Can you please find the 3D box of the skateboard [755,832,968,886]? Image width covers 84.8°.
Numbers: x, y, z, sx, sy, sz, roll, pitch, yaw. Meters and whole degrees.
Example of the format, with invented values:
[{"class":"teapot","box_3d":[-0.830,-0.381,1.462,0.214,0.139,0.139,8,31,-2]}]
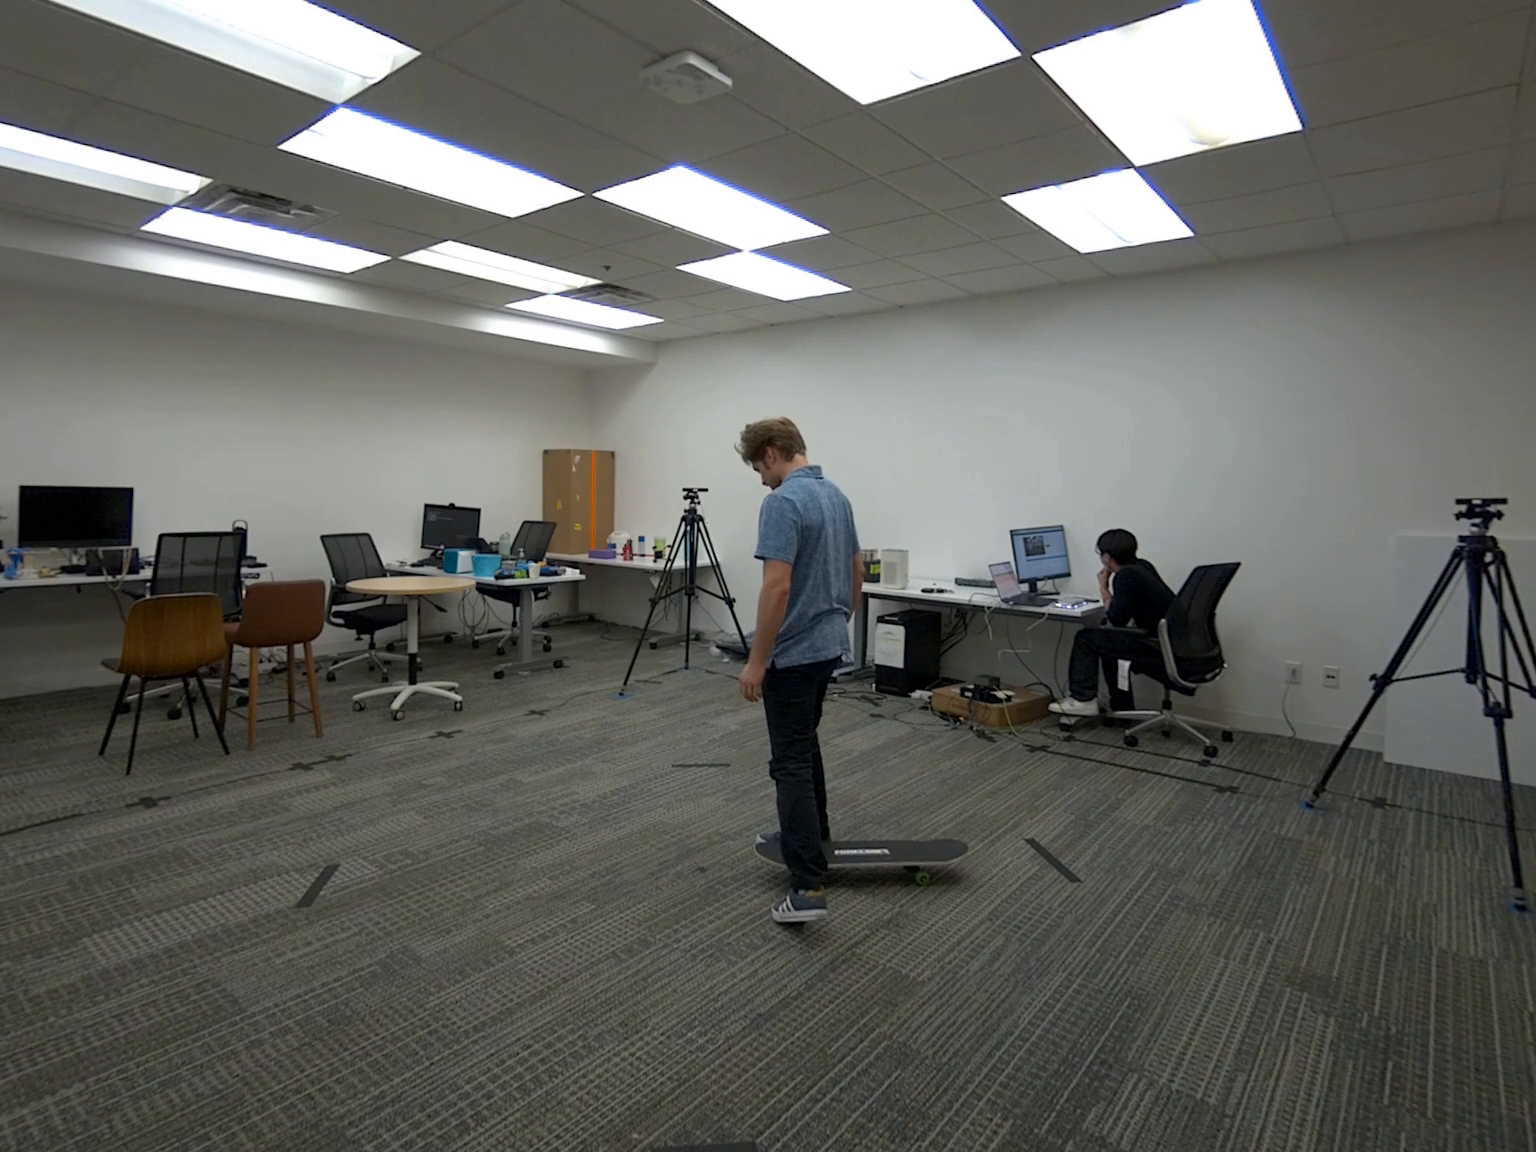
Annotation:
[{"class":"skateboard","box_3d":[0.335,1.027,3.081,0.781,0.110,0.195,1,5,-5]}]
